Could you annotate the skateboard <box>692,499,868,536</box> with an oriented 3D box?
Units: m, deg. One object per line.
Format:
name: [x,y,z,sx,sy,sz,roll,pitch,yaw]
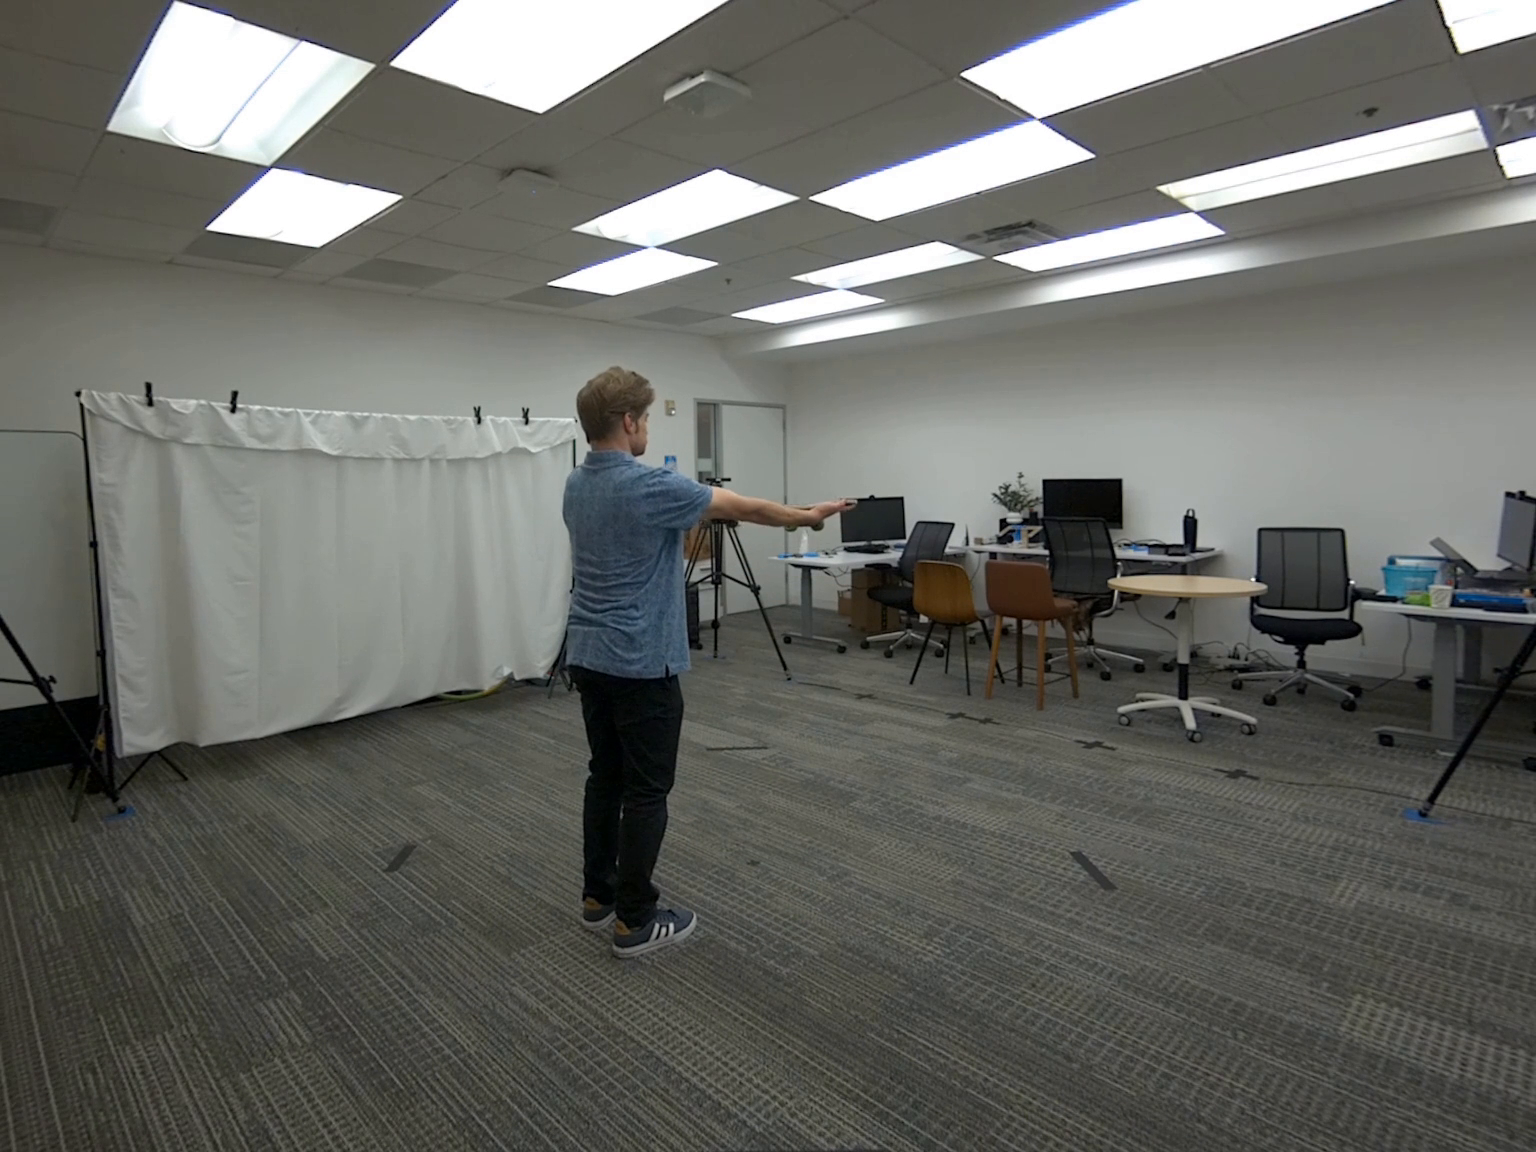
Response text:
skateboard: [-0.037,-0.217,3.047,0.810,0.110,0.188,5,8,41]
